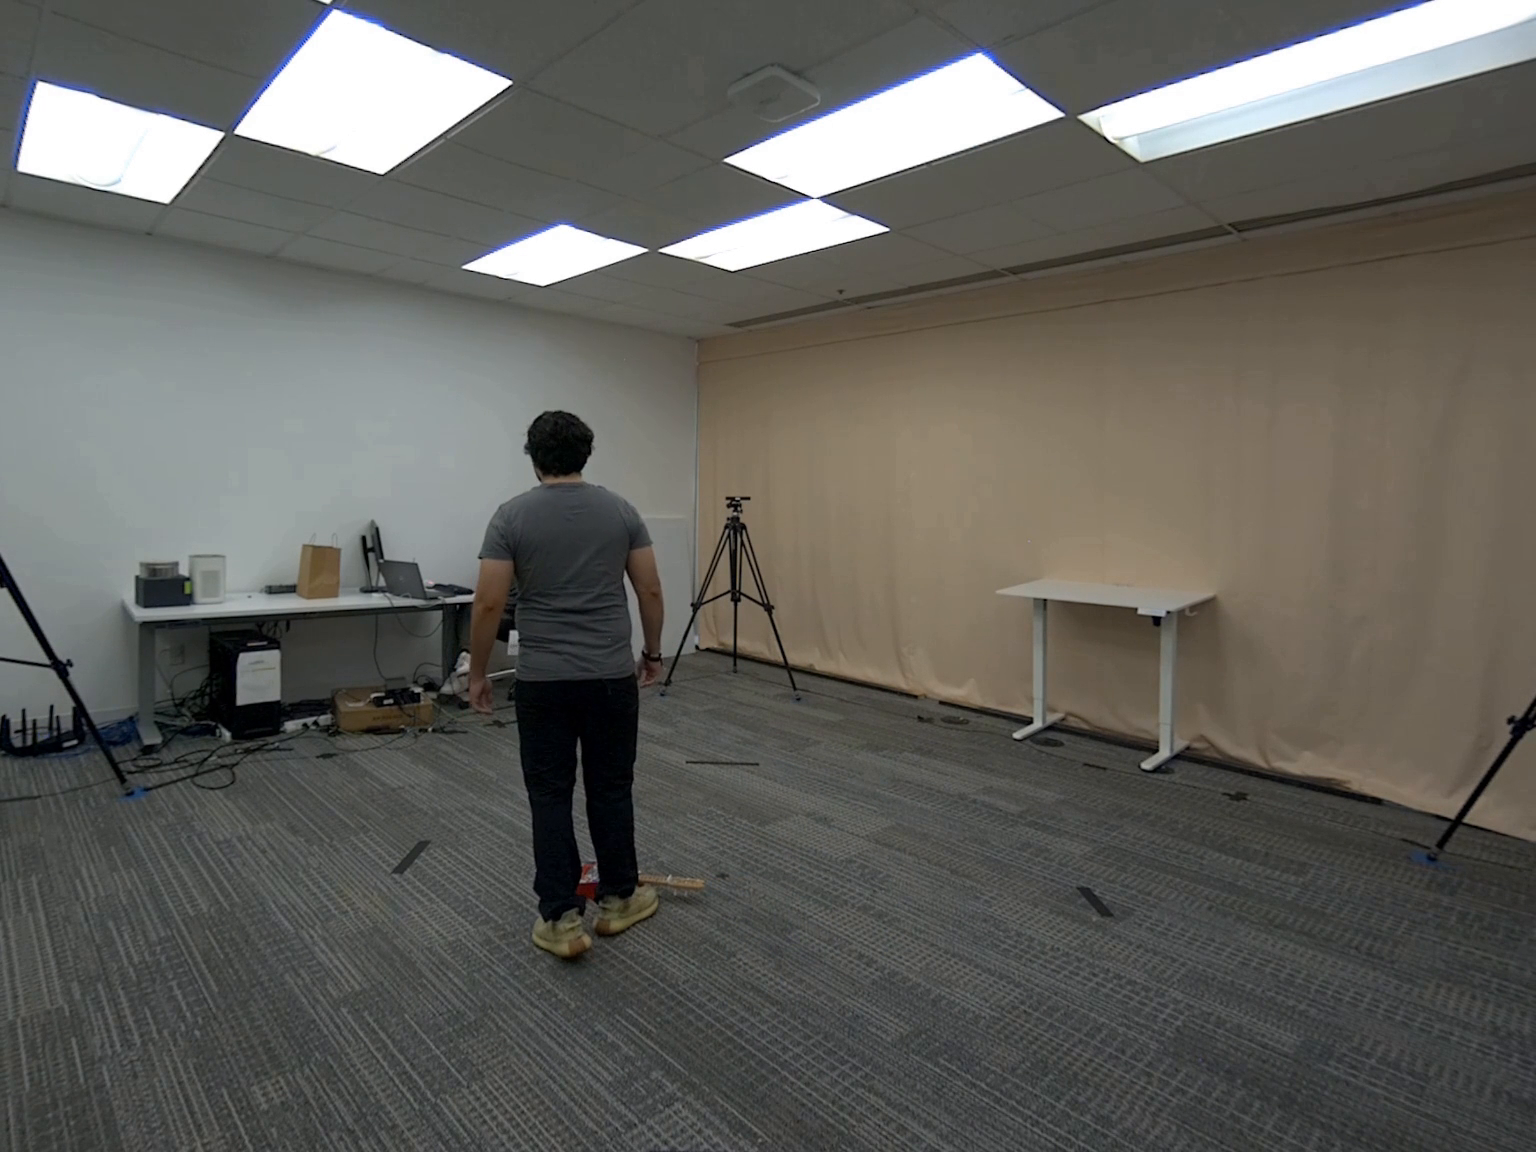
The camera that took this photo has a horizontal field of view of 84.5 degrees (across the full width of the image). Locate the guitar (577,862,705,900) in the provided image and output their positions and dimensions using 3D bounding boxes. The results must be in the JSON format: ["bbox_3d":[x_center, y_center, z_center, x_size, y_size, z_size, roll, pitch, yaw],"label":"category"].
[{"bbox_3d":[-0.480,1.088,2.926,0.506,0.070,0.190,3,5,19],"label":"guitar"}]
